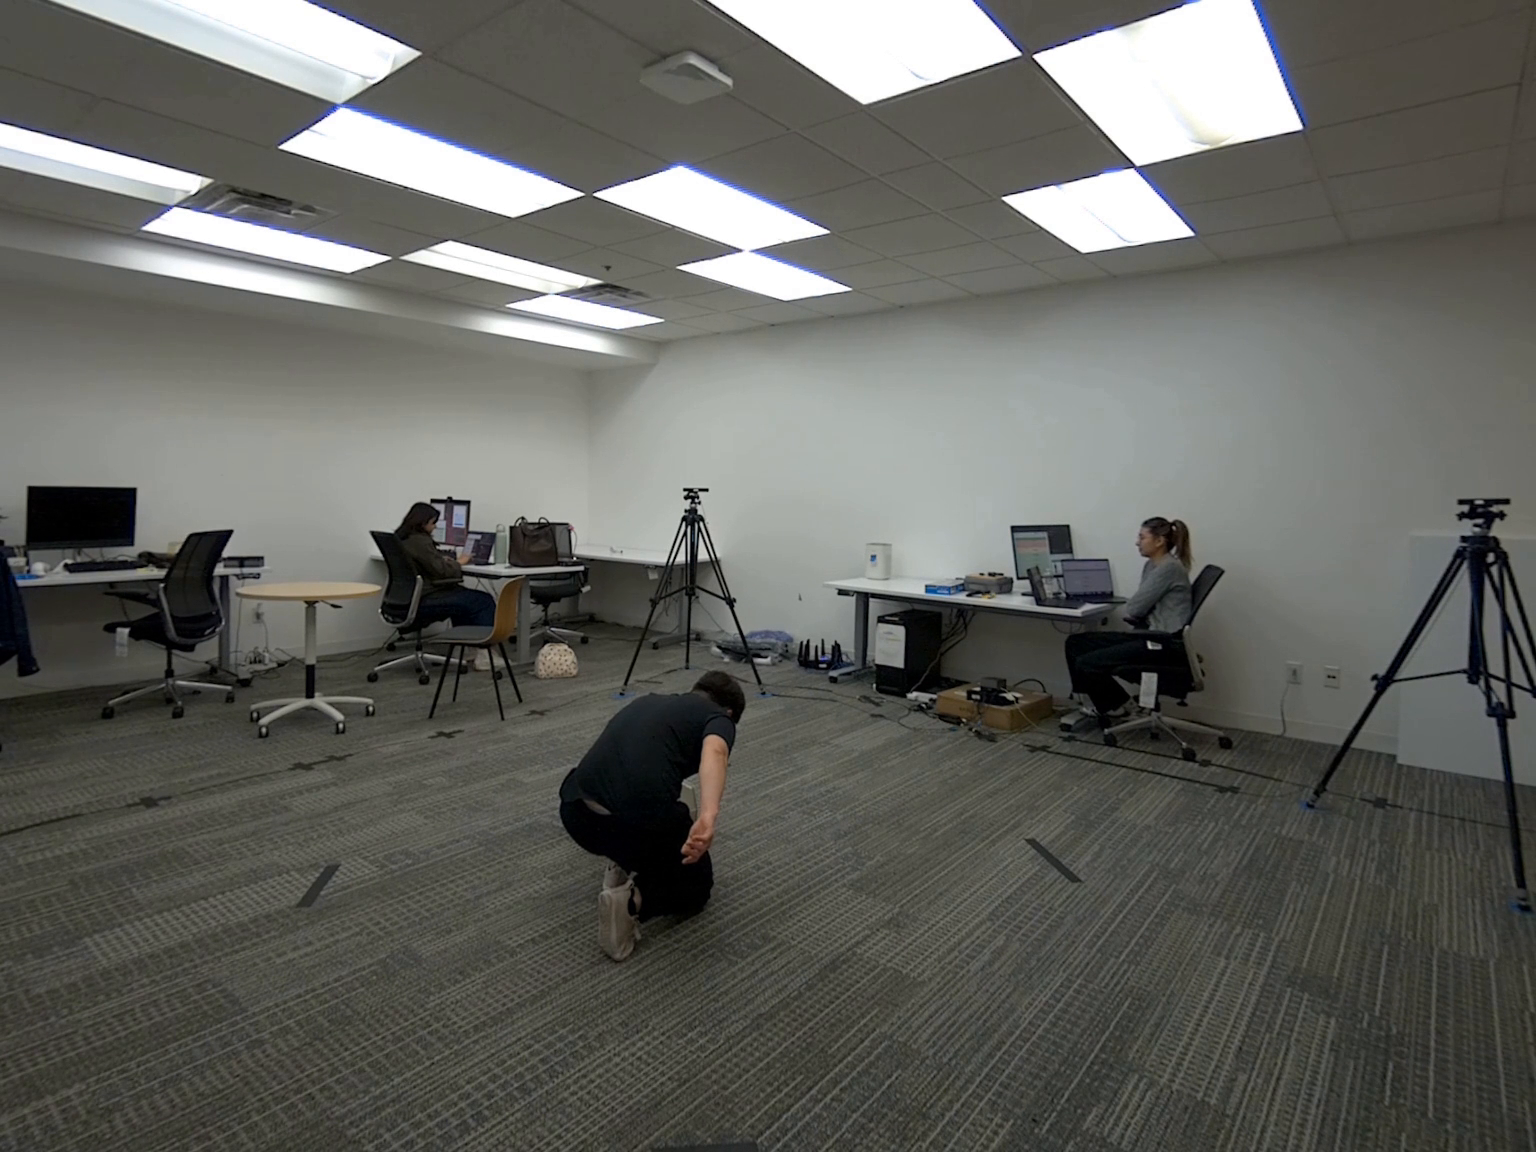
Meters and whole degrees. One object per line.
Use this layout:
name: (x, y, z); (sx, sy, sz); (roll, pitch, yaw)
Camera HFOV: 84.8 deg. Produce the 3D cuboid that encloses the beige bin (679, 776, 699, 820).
beige bin: (-0.567, 0.931, 3.479); (0.410, 0.188, 0.390); (-4, 6, -37)
